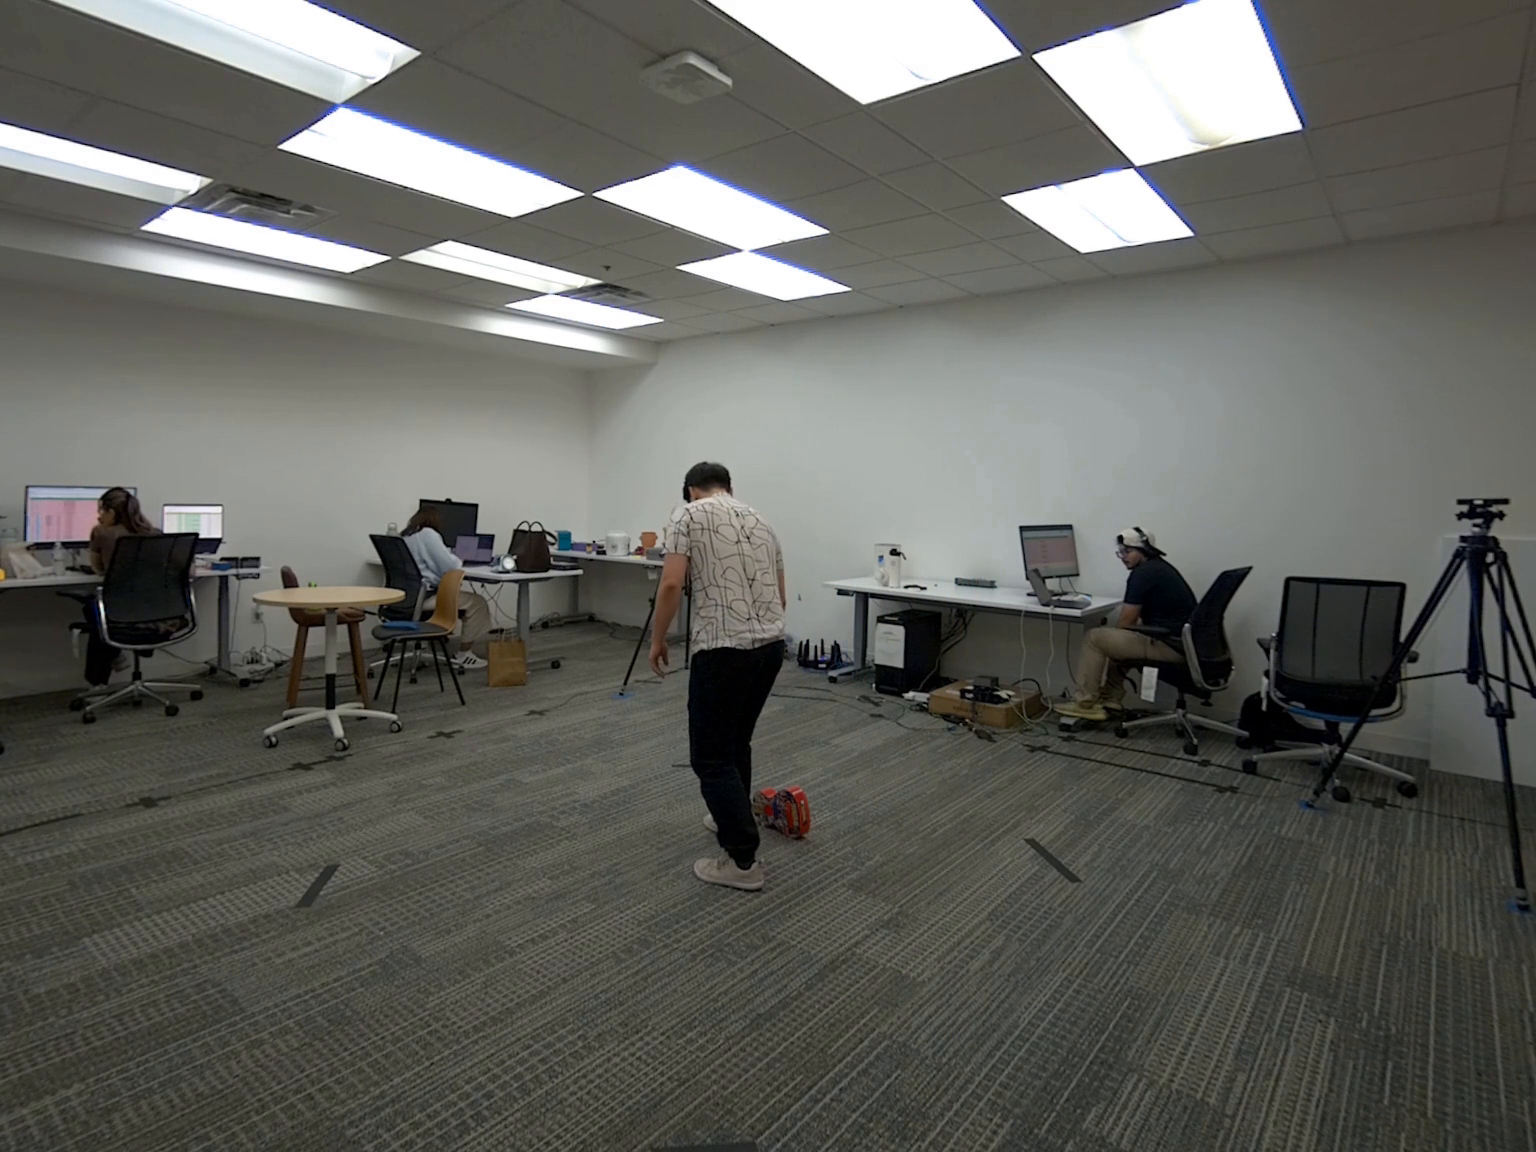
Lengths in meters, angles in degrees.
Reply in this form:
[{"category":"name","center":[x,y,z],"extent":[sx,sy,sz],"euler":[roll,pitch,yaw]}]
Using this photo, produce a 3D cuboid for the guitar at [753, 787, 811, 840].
[{"category":"guitar","center":[-0.044,0.934,3.556],"extent":[0.069,0.192,0.515],"euler":[-7,9,-44]}]
